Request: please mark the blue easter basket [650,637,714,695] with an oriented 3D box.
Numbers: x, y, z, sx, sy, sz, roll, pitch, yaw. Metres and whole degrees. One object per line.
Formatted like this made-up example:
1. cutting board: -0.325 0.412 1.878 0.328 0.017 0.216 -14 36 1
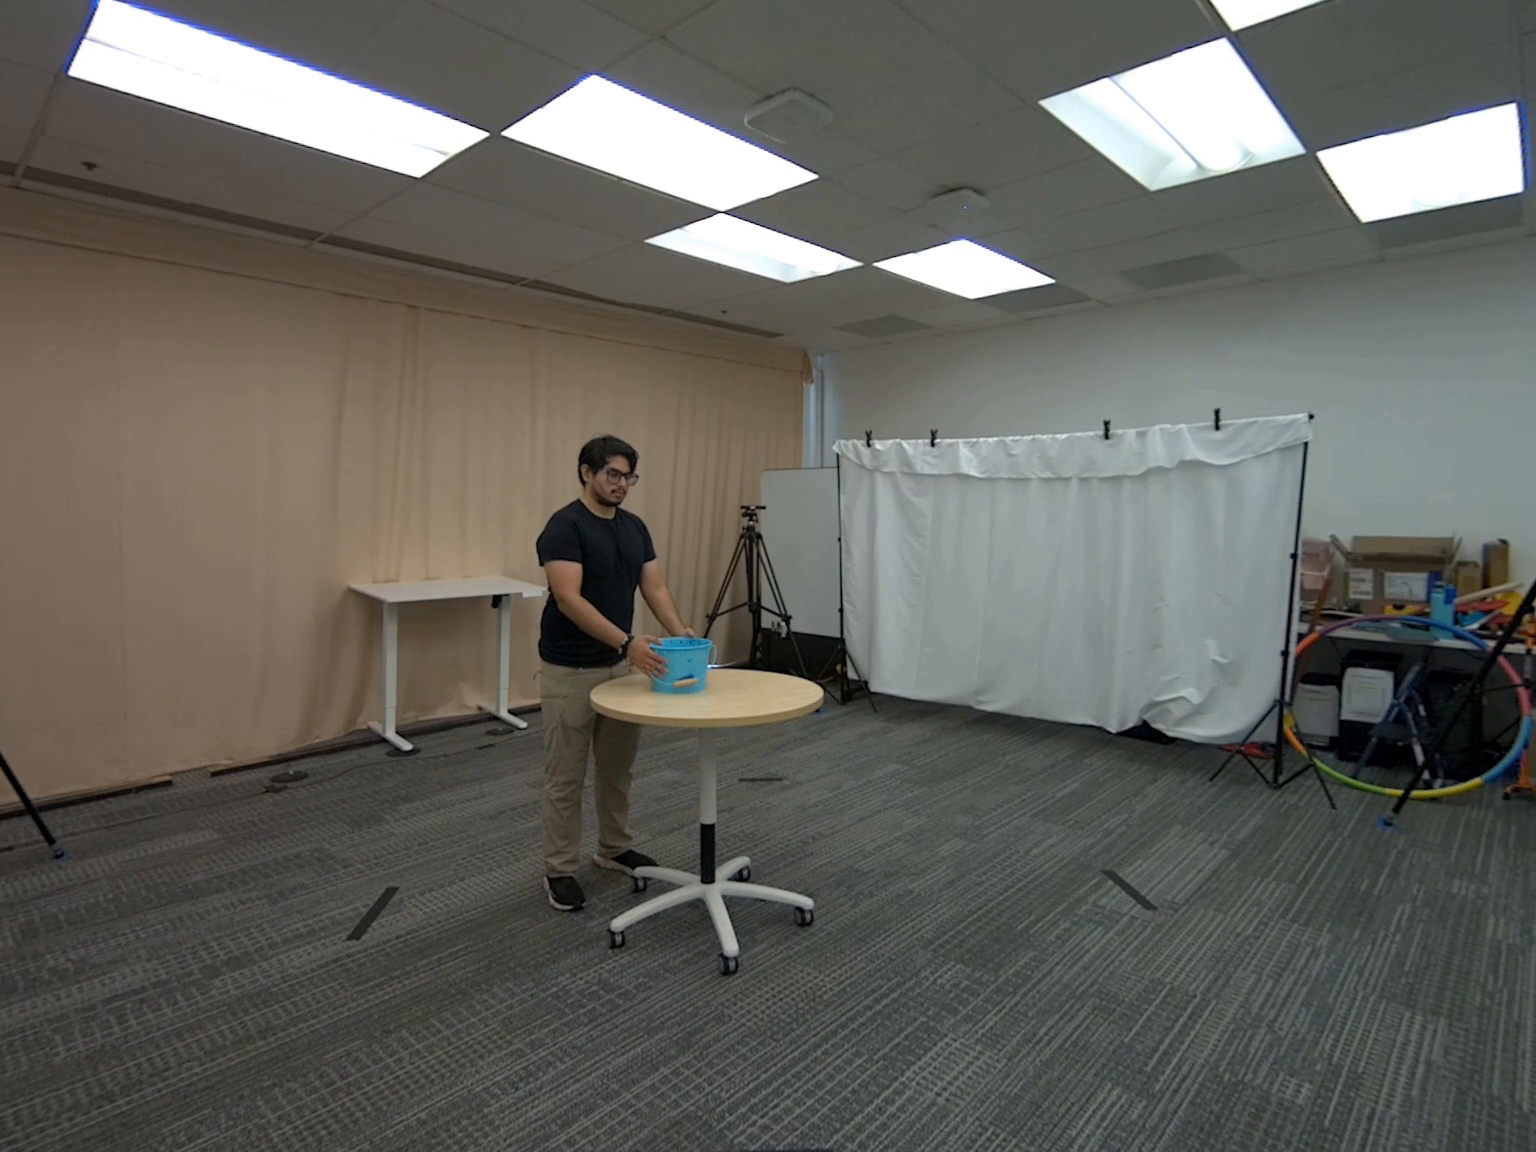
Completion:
1. blue easter basket: -0.303 0.305 2.813 0.243 0.155 0.244 -2 4 -2
